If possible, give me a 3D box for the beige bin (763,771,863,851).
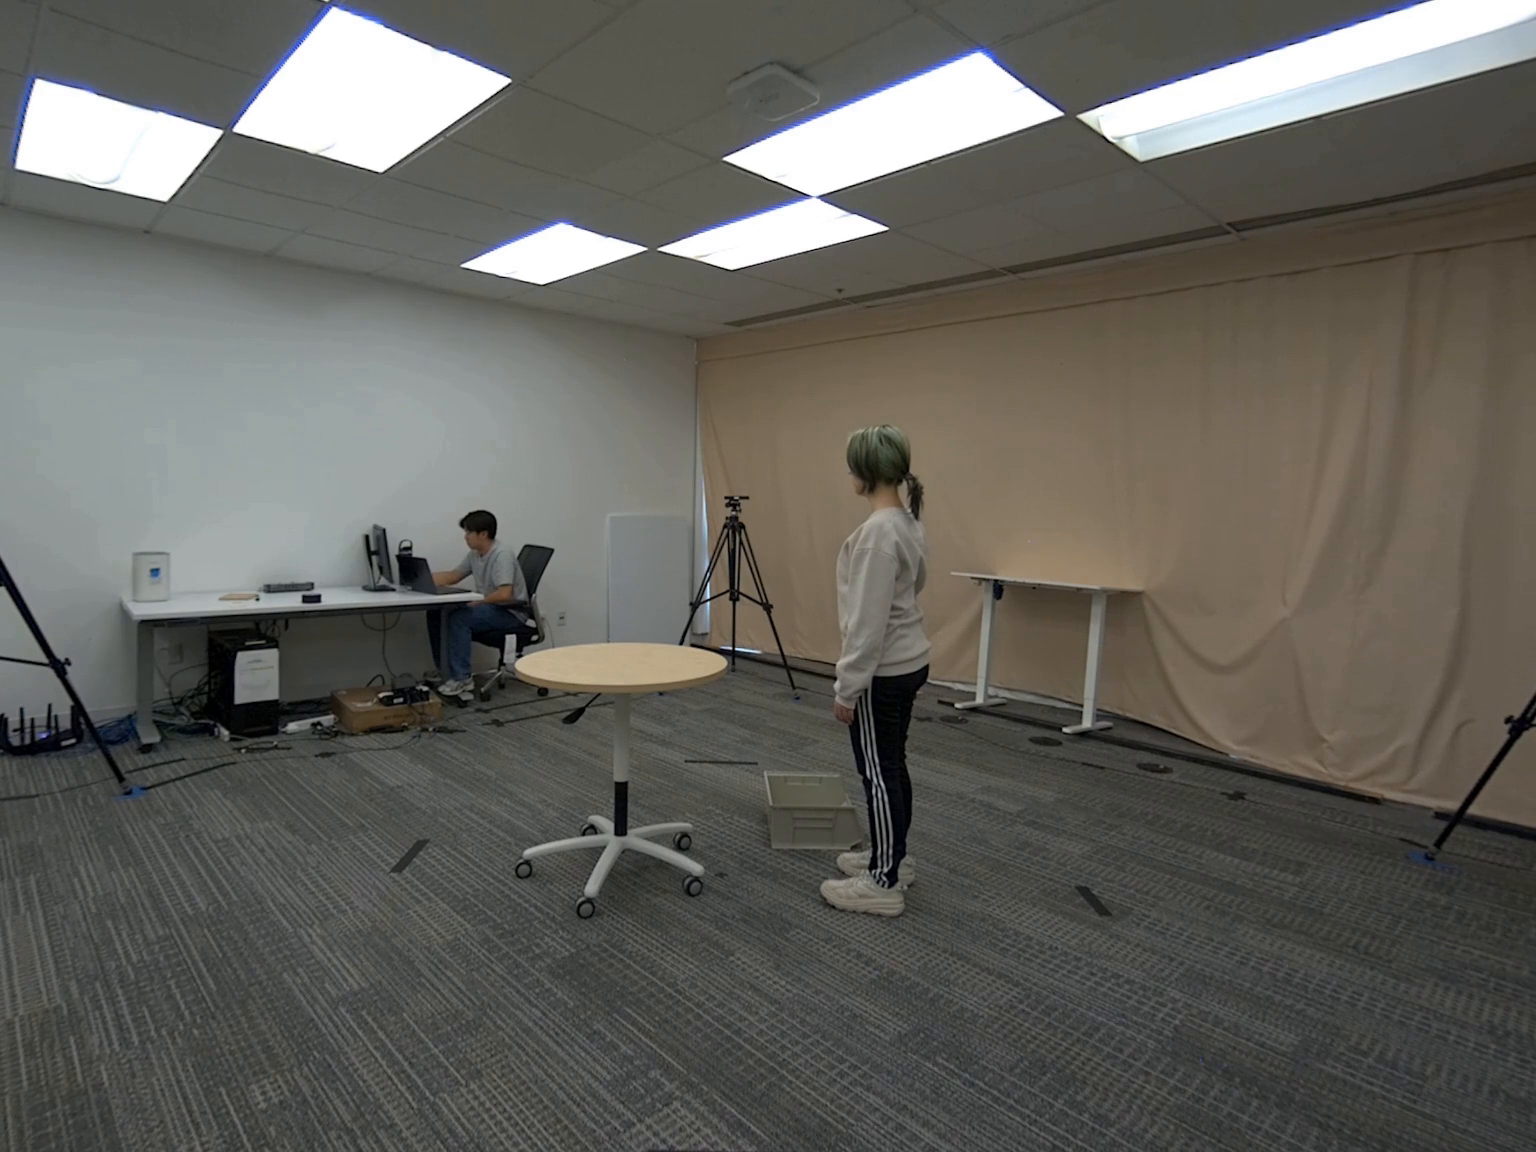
[{"bbox_3d":[0.173,0.985,3.556,0.376,0.188,0.424,0,5,-3],"label":"beige bin"}]
